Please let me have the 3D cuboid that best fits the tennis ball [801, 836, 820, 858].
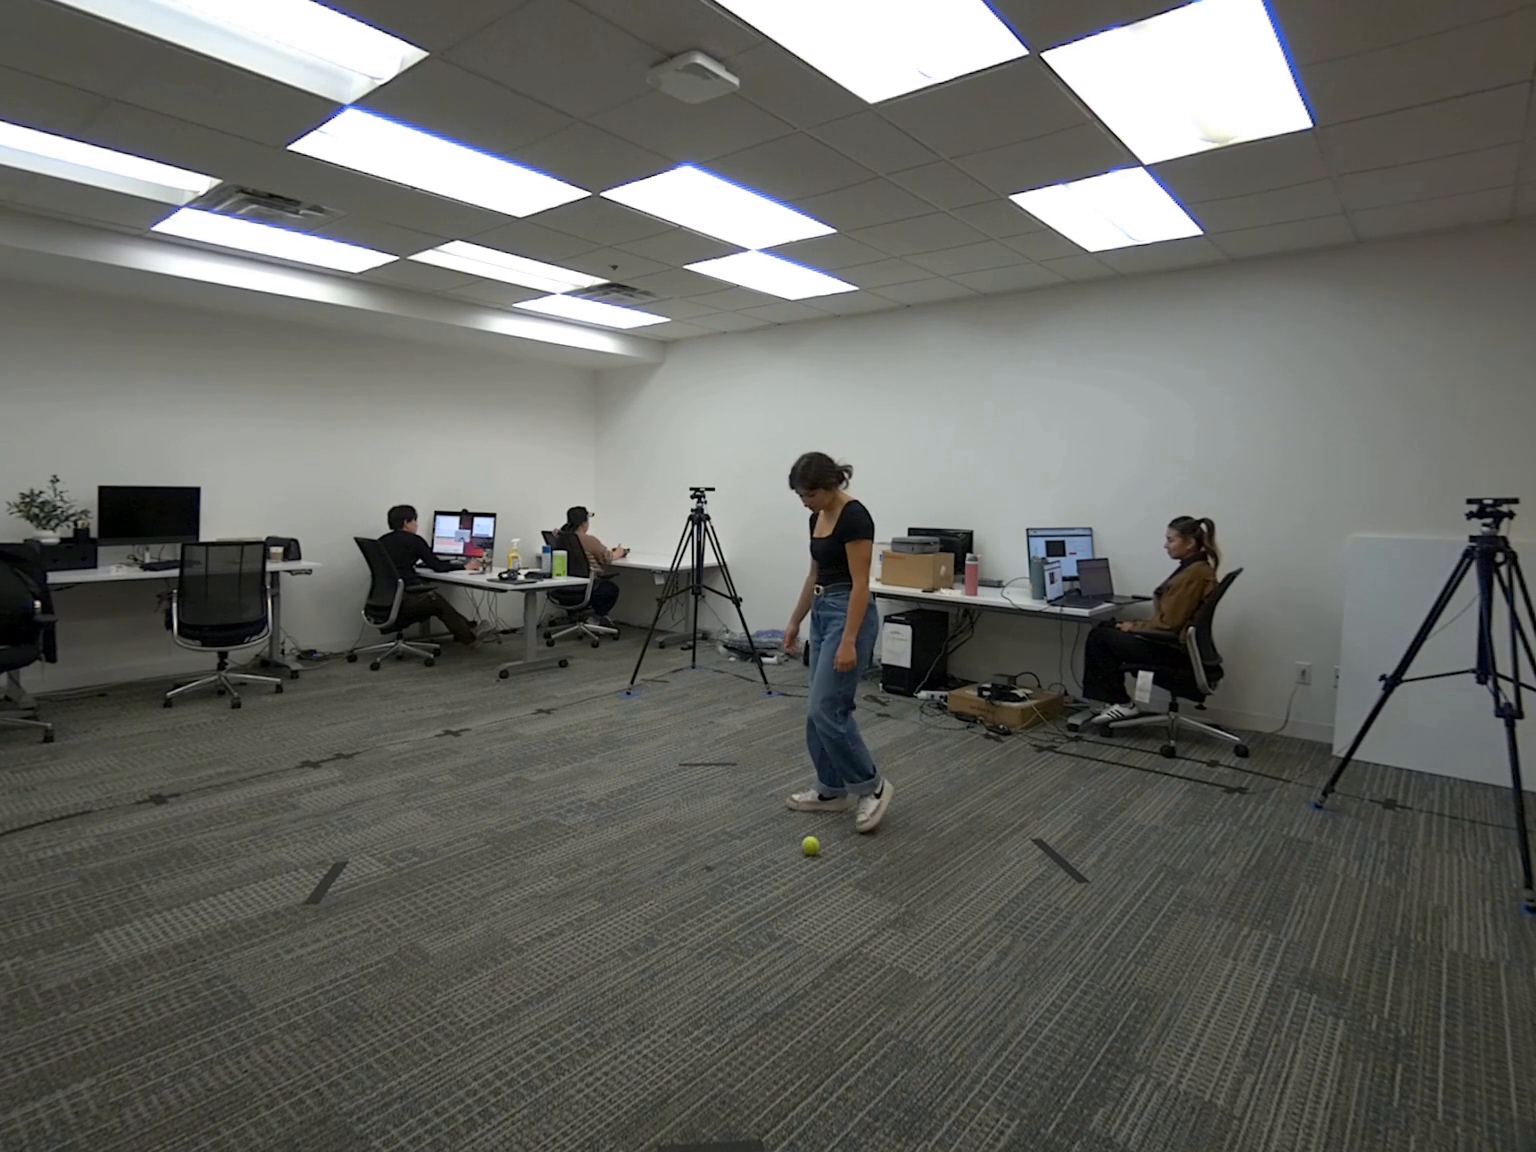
[{"bbox_3d":[0.156,1.013,3.259,0.066,0.066,0.067,1,4,-2],"label":"tennis ball"}]
